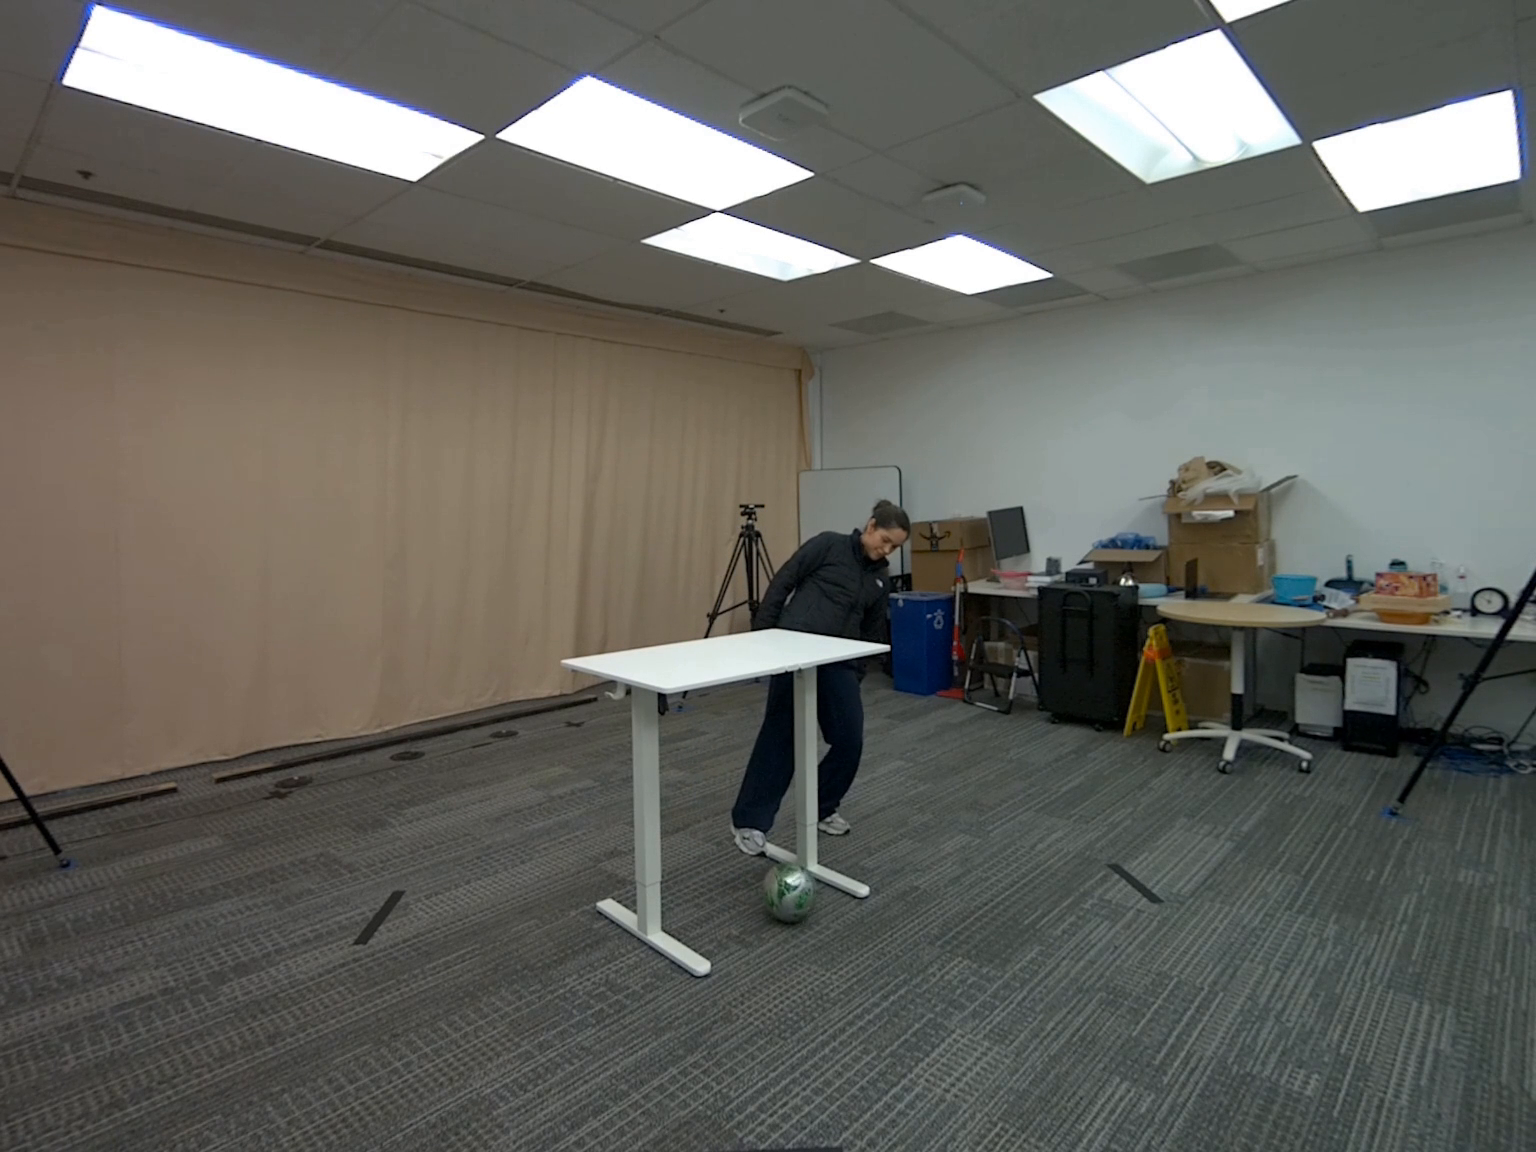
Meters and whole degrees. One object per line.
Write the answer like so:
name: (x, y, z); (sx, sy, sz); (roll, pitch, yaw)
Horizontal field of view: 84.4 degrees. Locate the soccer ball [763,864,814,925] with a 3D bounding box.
soccer ball: (0.076, 1.056, 2.815); (0.187, 0.187, 0.188); (-1, 4, -2)
